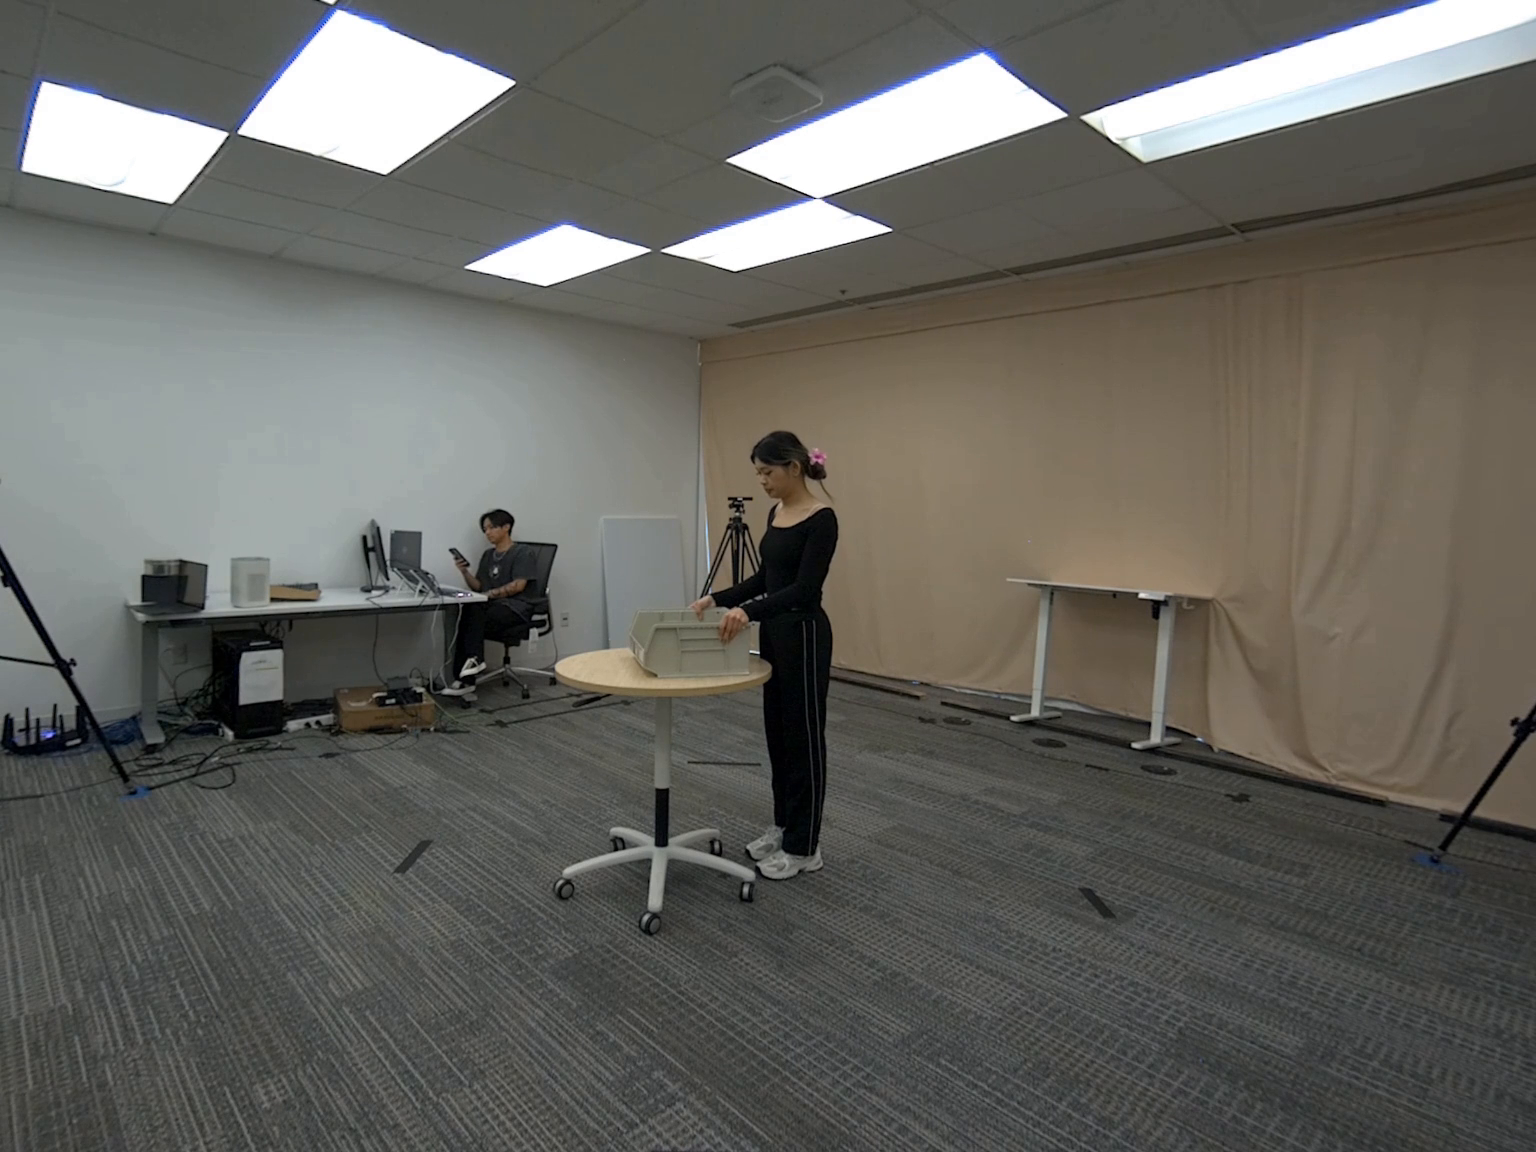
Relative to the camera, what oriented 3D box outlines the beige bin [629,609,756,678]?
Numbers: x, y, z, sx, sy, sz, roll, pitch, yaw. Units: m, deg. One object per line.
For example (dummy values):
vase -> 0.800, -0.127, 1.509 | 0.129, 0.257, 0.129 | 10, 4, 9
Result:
beige bin -> -0.294, 0.230, 2.990 | 0.373, 0.188, 0.428 | 1, 4, -15
